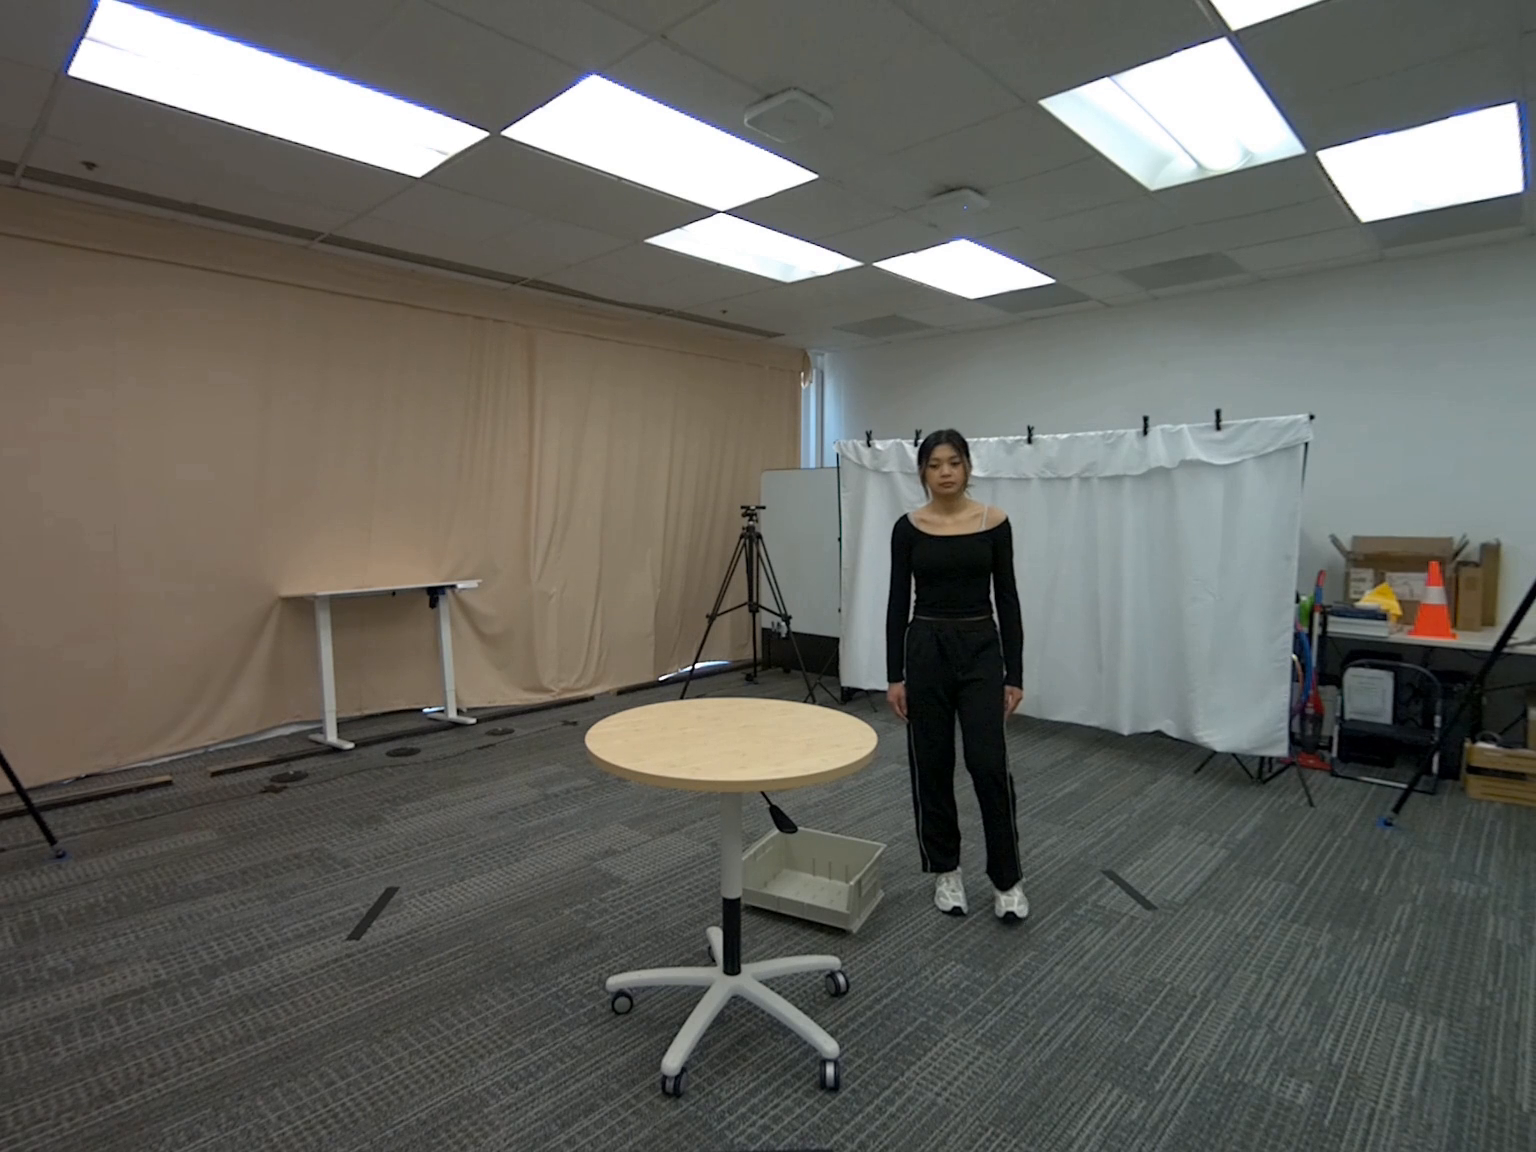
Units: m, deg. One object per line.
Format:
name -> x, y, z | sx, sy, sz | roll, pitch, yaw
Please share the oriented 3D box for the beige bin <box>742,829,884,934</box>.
beige bin -> 0.161, 1.059, 2.952 | 0.434, 0.188, 0.368 | 2, 4, 28
